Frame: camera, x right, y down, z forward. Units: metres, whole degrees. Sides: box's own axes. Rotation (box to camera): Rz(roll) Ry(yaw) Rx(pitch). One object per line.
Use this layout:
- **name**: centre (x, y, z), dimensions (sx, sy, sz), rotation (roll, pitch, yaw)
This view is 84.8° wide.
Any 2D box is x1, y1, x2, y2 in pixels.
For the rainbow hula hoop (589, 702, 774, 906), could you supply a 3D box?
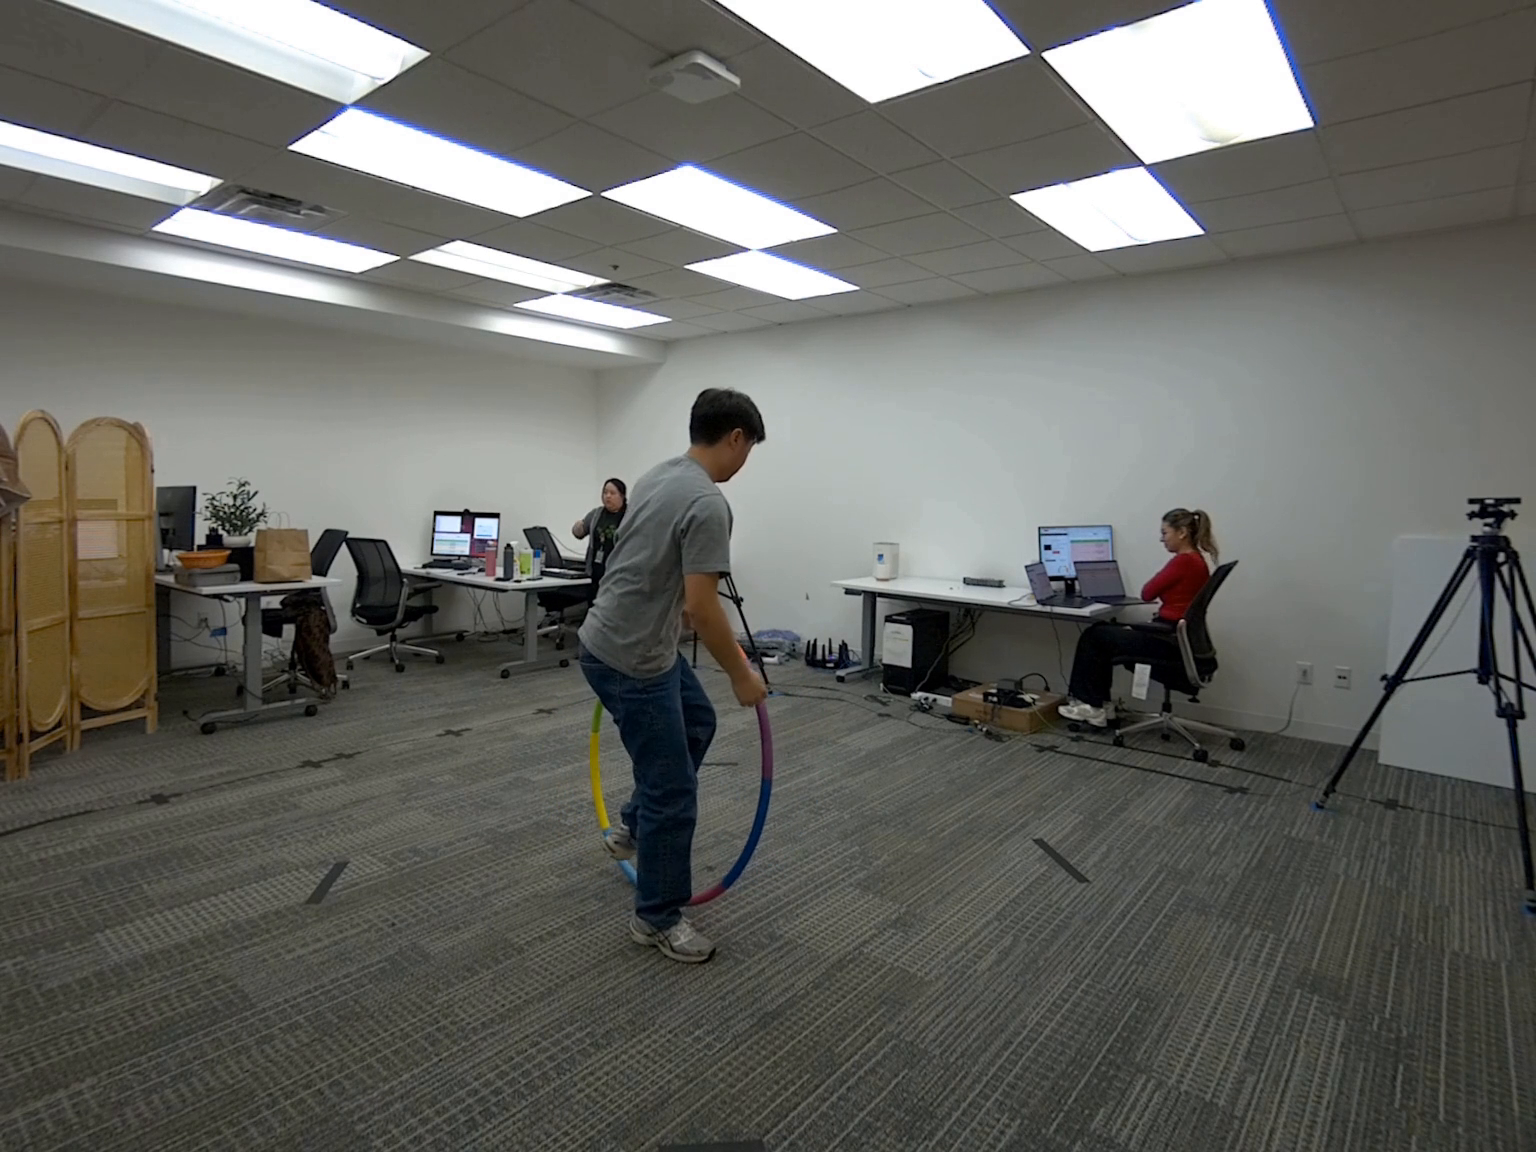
- **rainbow hula hoop**: centre (-0.346, 0.600, 2.916), dimensions (0.034, 0.981, 1.012), rotation (11, -4, -42)
